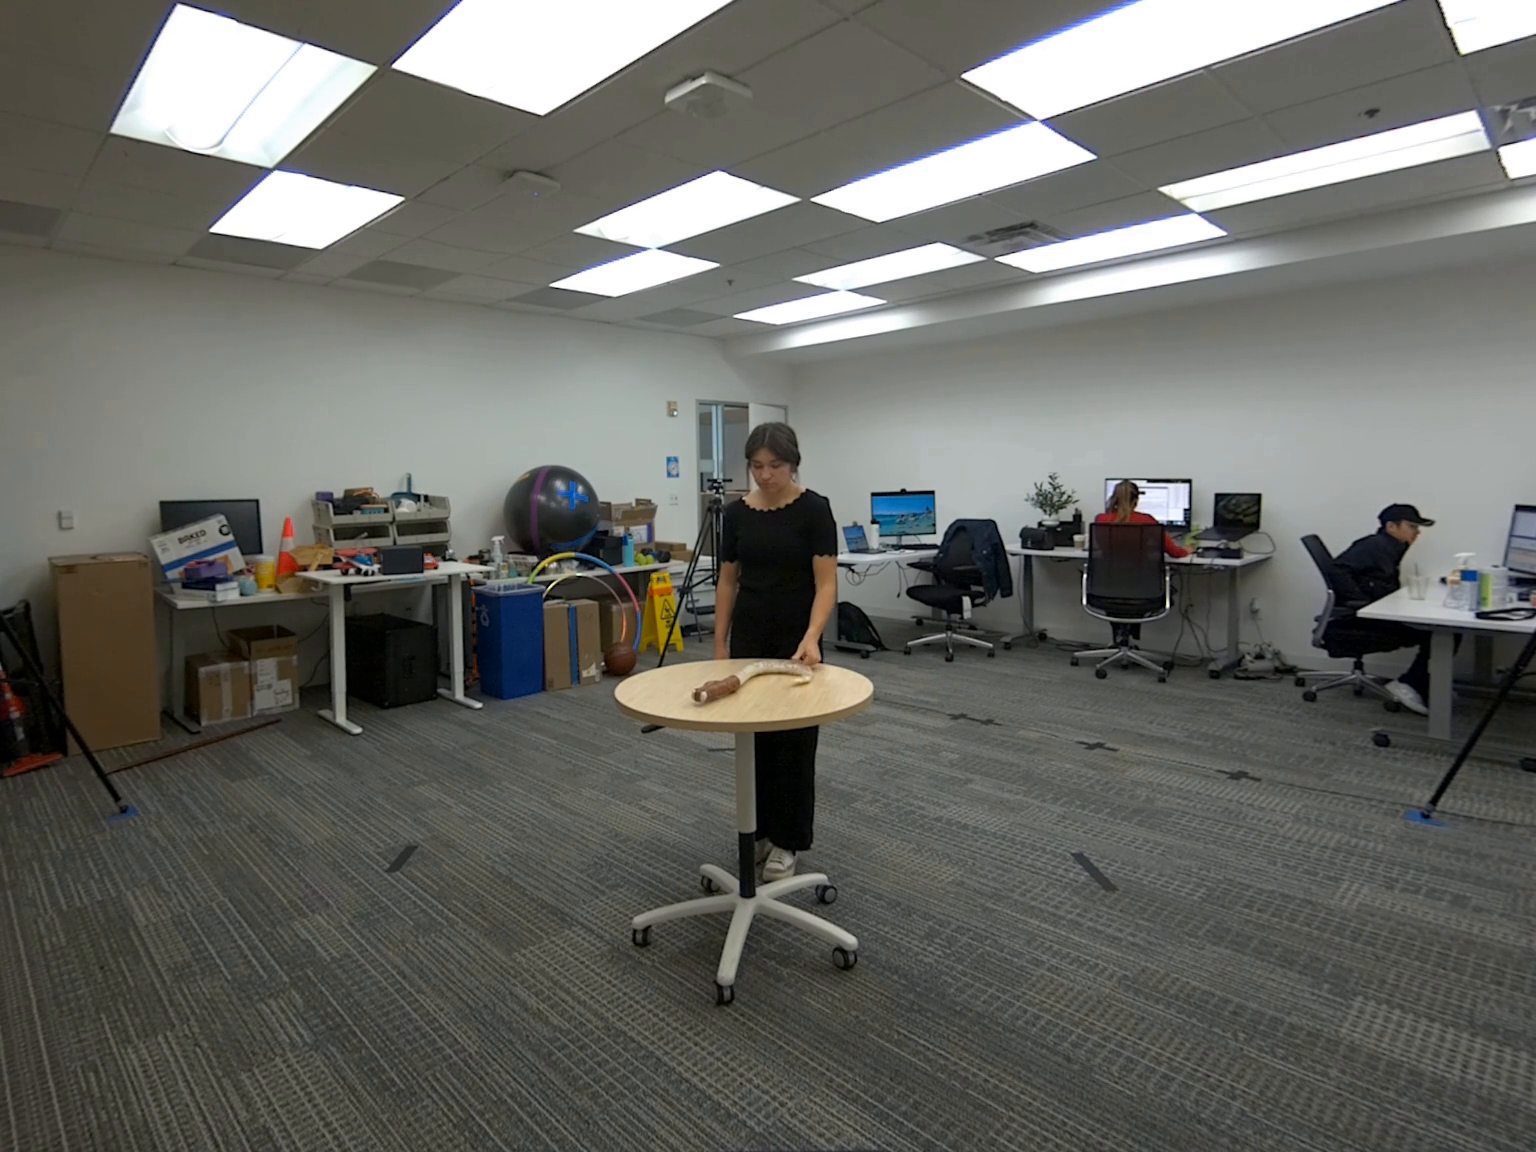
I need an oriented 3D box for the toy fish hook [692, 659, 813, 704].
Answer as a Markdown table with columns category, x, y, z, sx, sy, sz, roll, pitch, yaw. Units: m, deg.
| category | x | y | z | sx | sy | sz | roll | pitch | yaw |
| --- | --- | --- | --- | --- | --- | --- | --- | --- | --- |
| toy fish hook | -0.027 | 0.312 | 2.501 | 0.230 | 0.048 | 0.496 | -1 | 6 | 29 |
